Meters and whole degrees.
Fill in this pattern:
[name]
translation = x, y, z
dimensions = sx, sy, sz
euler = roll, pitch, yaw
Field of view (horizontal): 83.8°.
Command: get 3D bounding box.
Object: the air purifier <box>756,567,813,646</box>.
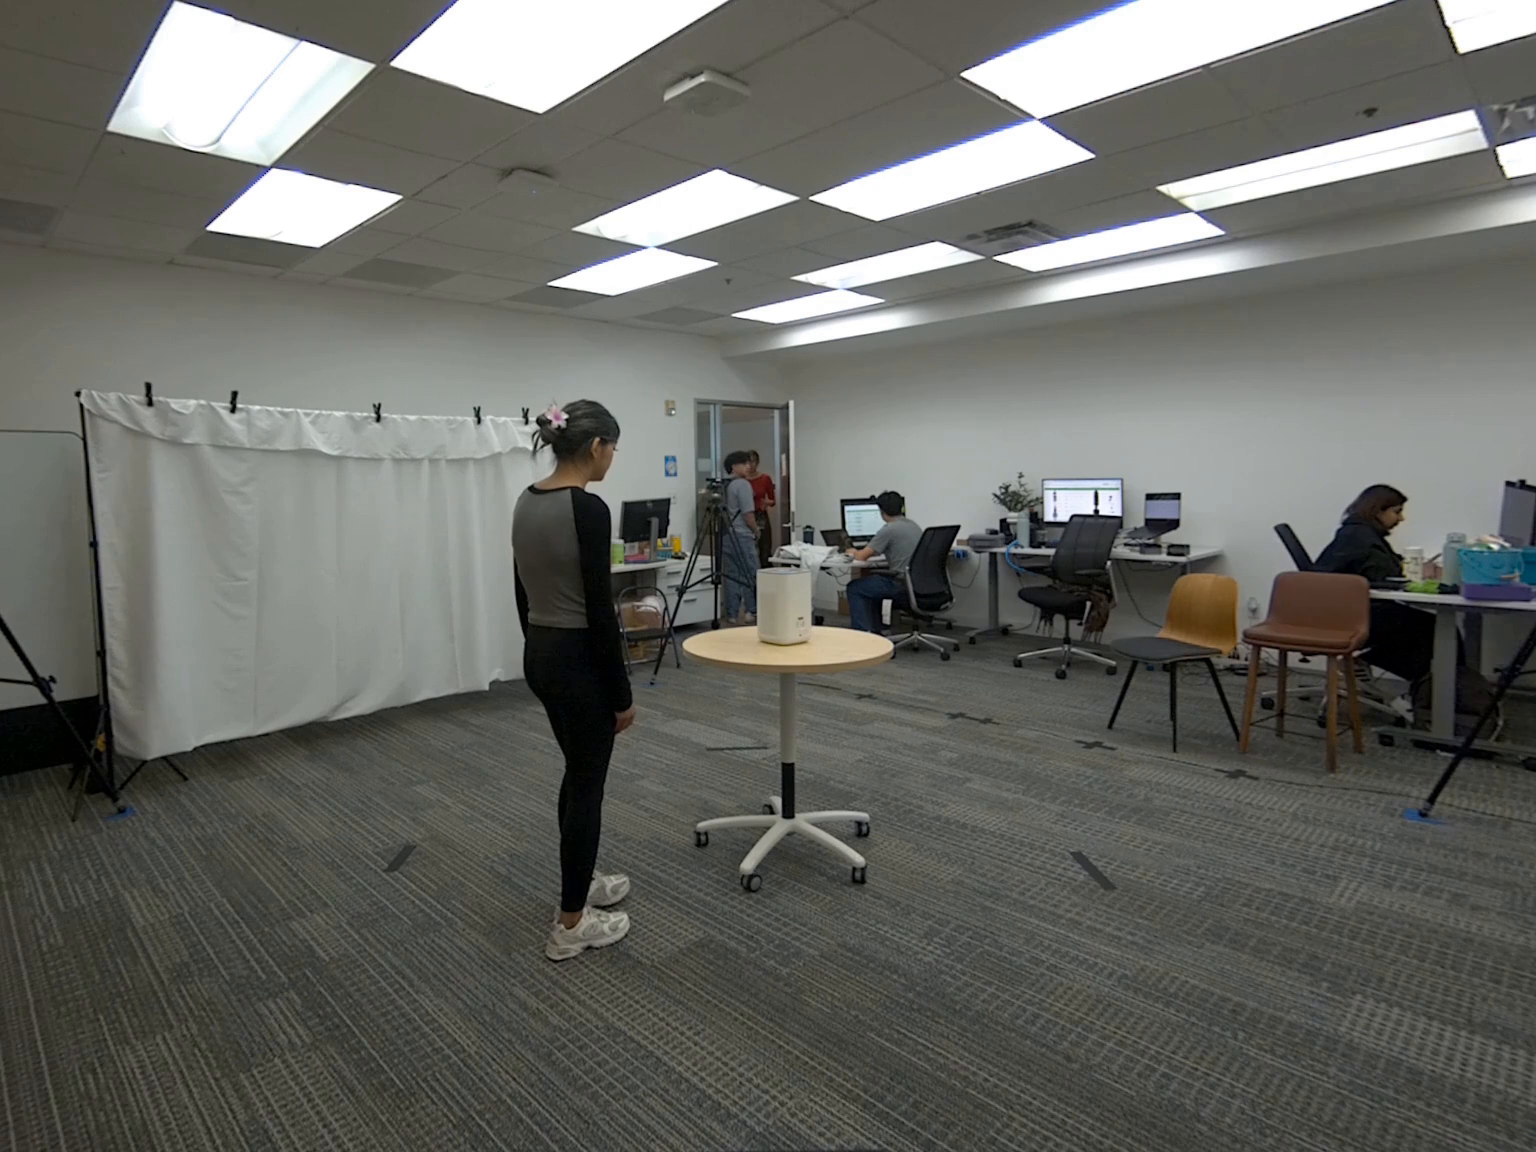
[air purifier]
translation = 0.059, 0.108, 3.146
dimensions = 0.166, 0.264, 0.177
euler = -4, 6, -42
